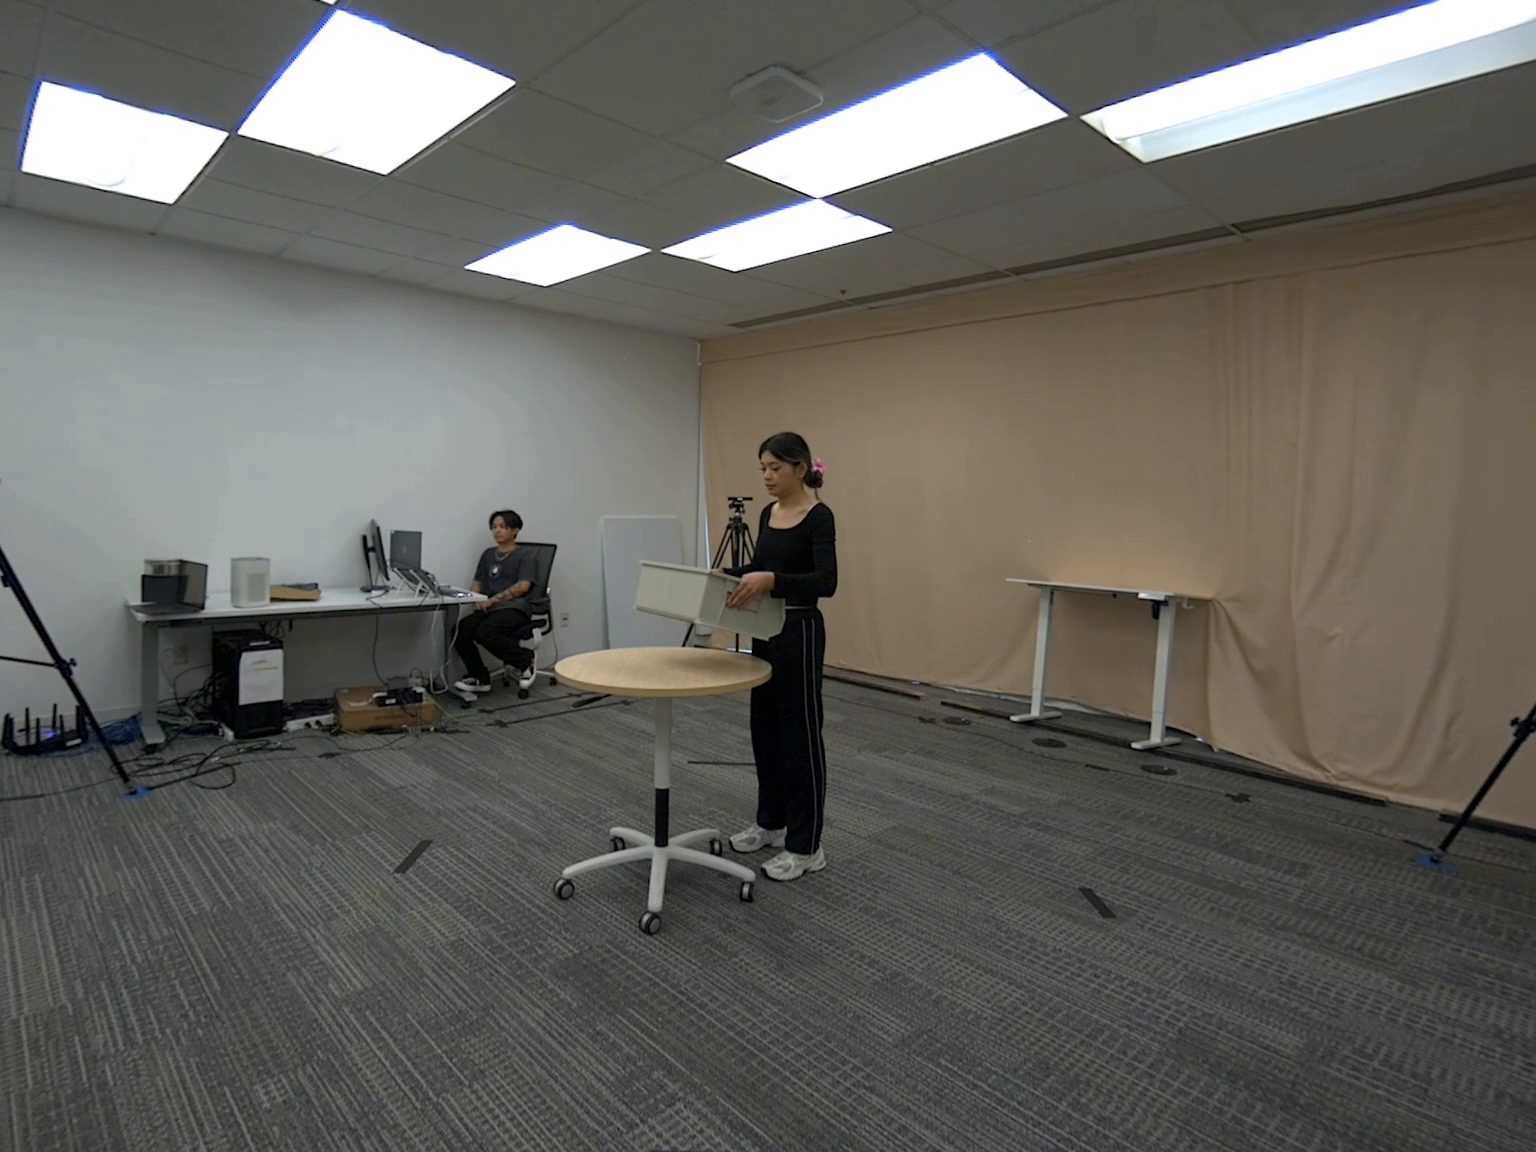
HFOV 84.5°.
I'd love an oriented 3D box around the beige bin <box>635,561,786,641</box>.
[{"bbox_3d":[-0.217,0.089,2.988,0.367,0.189,0.433,14,-4,-39],"label":"beige bin"}]
